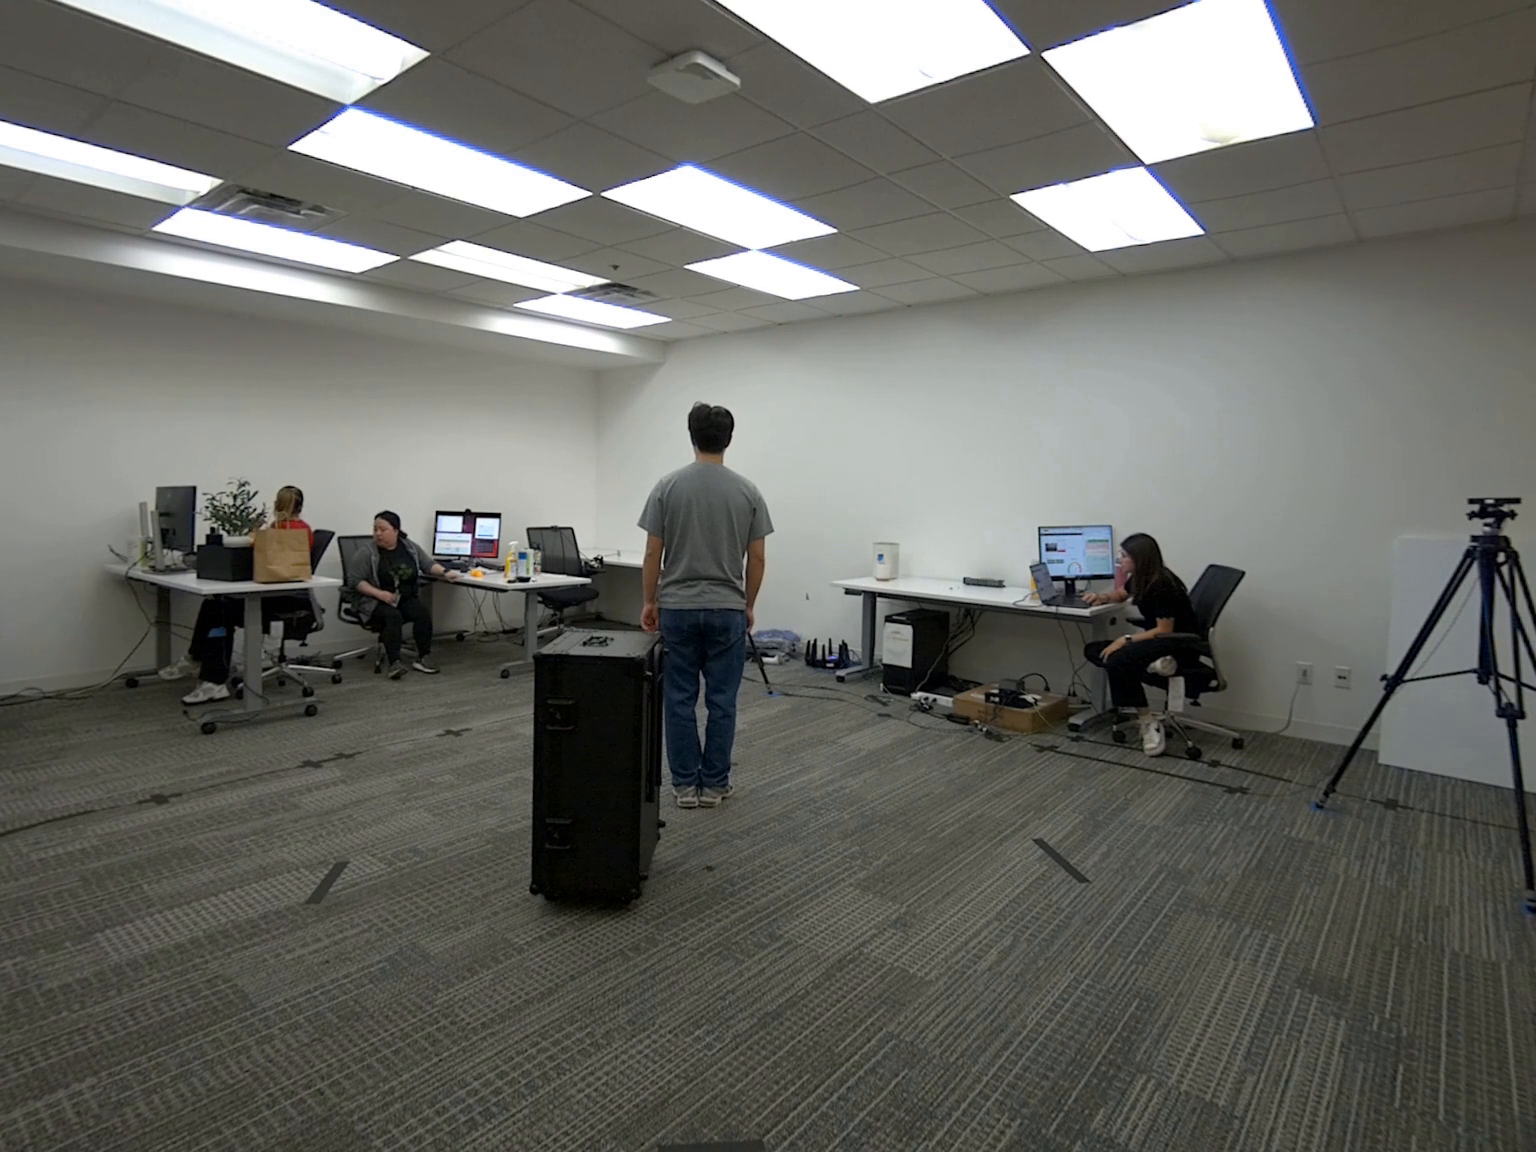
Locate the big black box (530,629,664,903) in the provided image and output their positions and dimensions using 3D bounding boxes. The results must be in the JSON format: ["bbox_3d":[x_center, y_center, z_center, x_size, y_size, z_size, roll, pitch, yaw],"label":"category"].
[{"bbox_3d":[-0.589,0.651,2.953,0.398,0.859,0.520,2,3,3],"label":"big black box"}]
